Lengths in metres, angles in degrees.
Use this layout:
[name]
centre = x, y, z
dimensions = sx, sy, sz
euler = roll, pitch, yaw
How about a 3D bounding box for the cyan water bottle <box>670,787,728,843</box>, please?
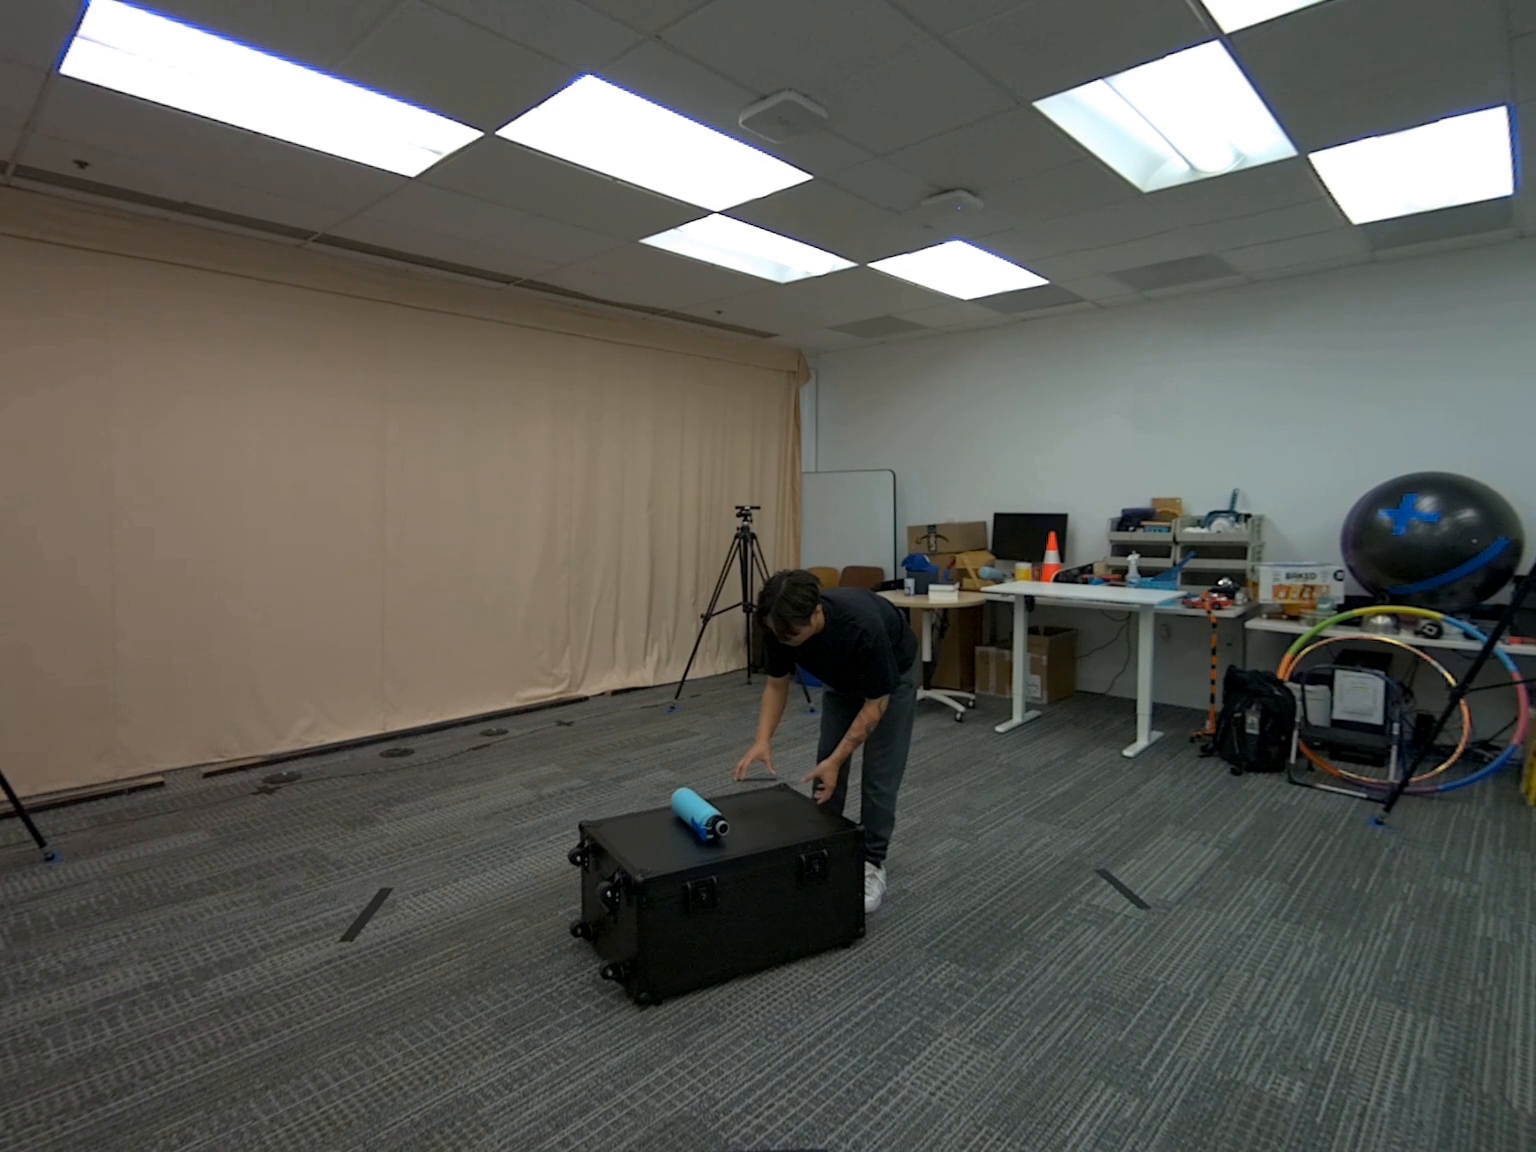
[cyan water bottle]
centre = -0.206, 0.749, 2.656
dimensions = 0.090, 0.092, 0.291
euler = -2, 6, -25
